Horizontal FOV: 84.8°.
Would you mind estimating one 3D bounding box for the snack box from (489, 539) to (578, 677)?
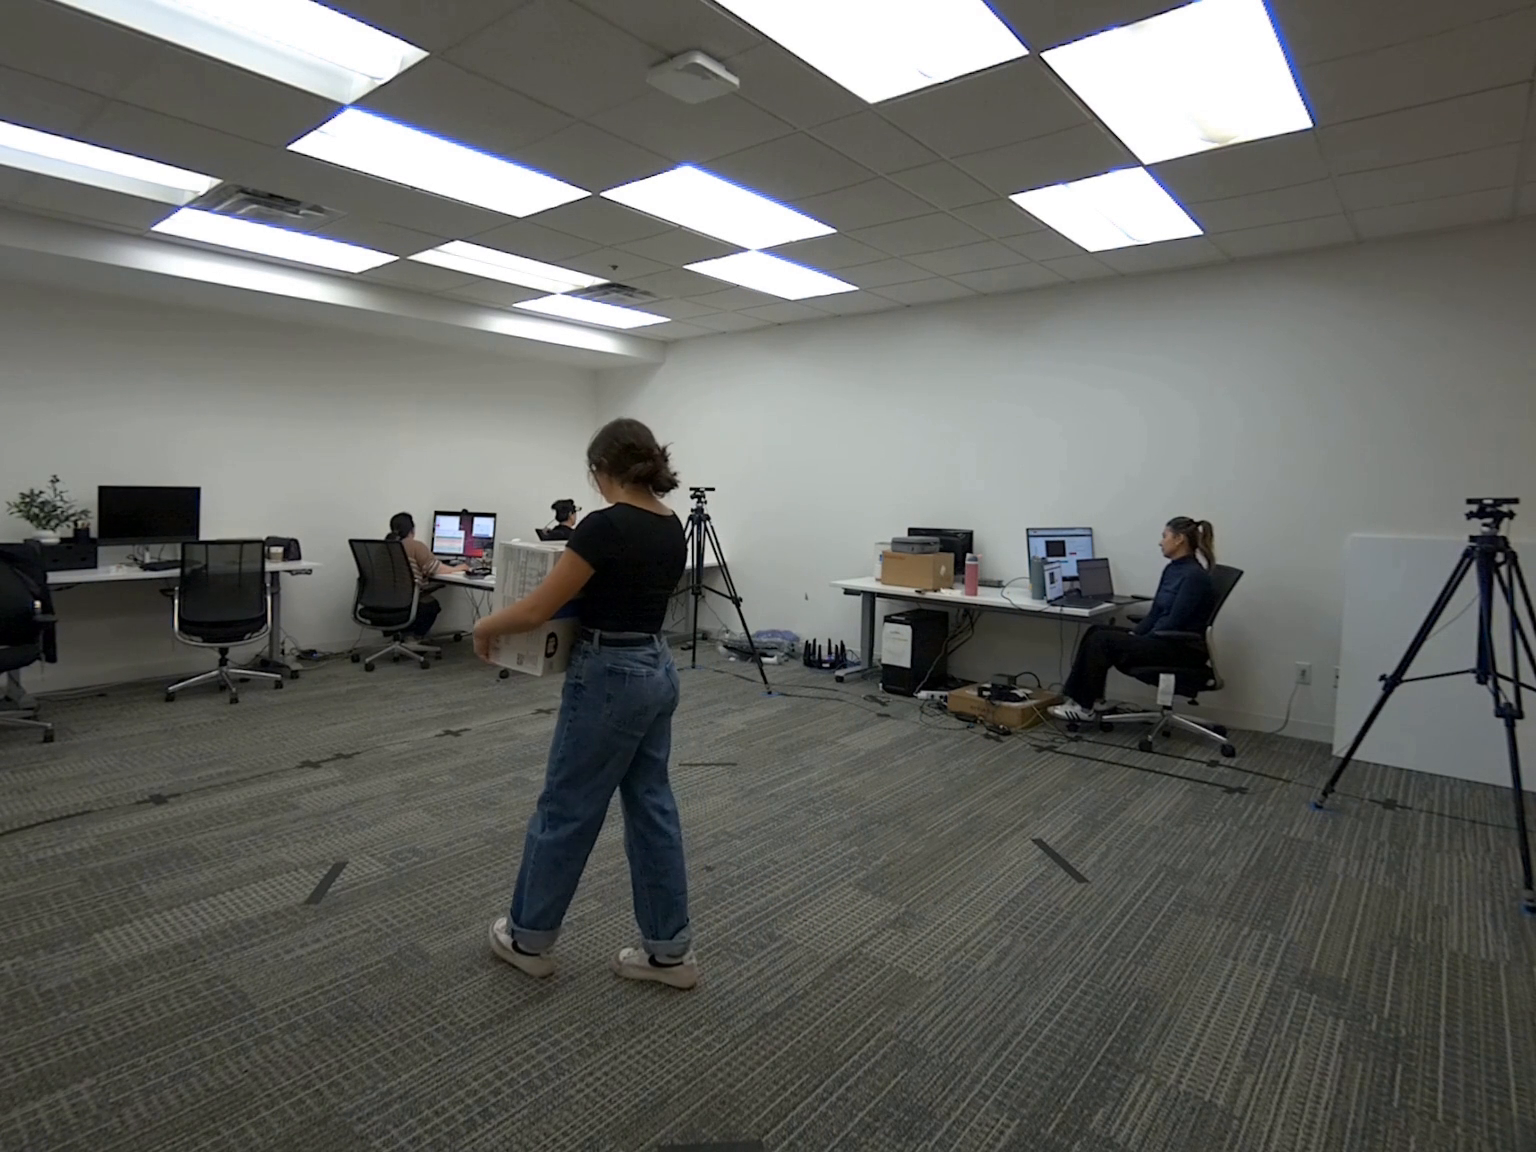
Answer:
[{"bbox_3d":[-0.597,0.072,2.472,0.212,0.339,0.395,8,5,26],"label":"snack box"}]
